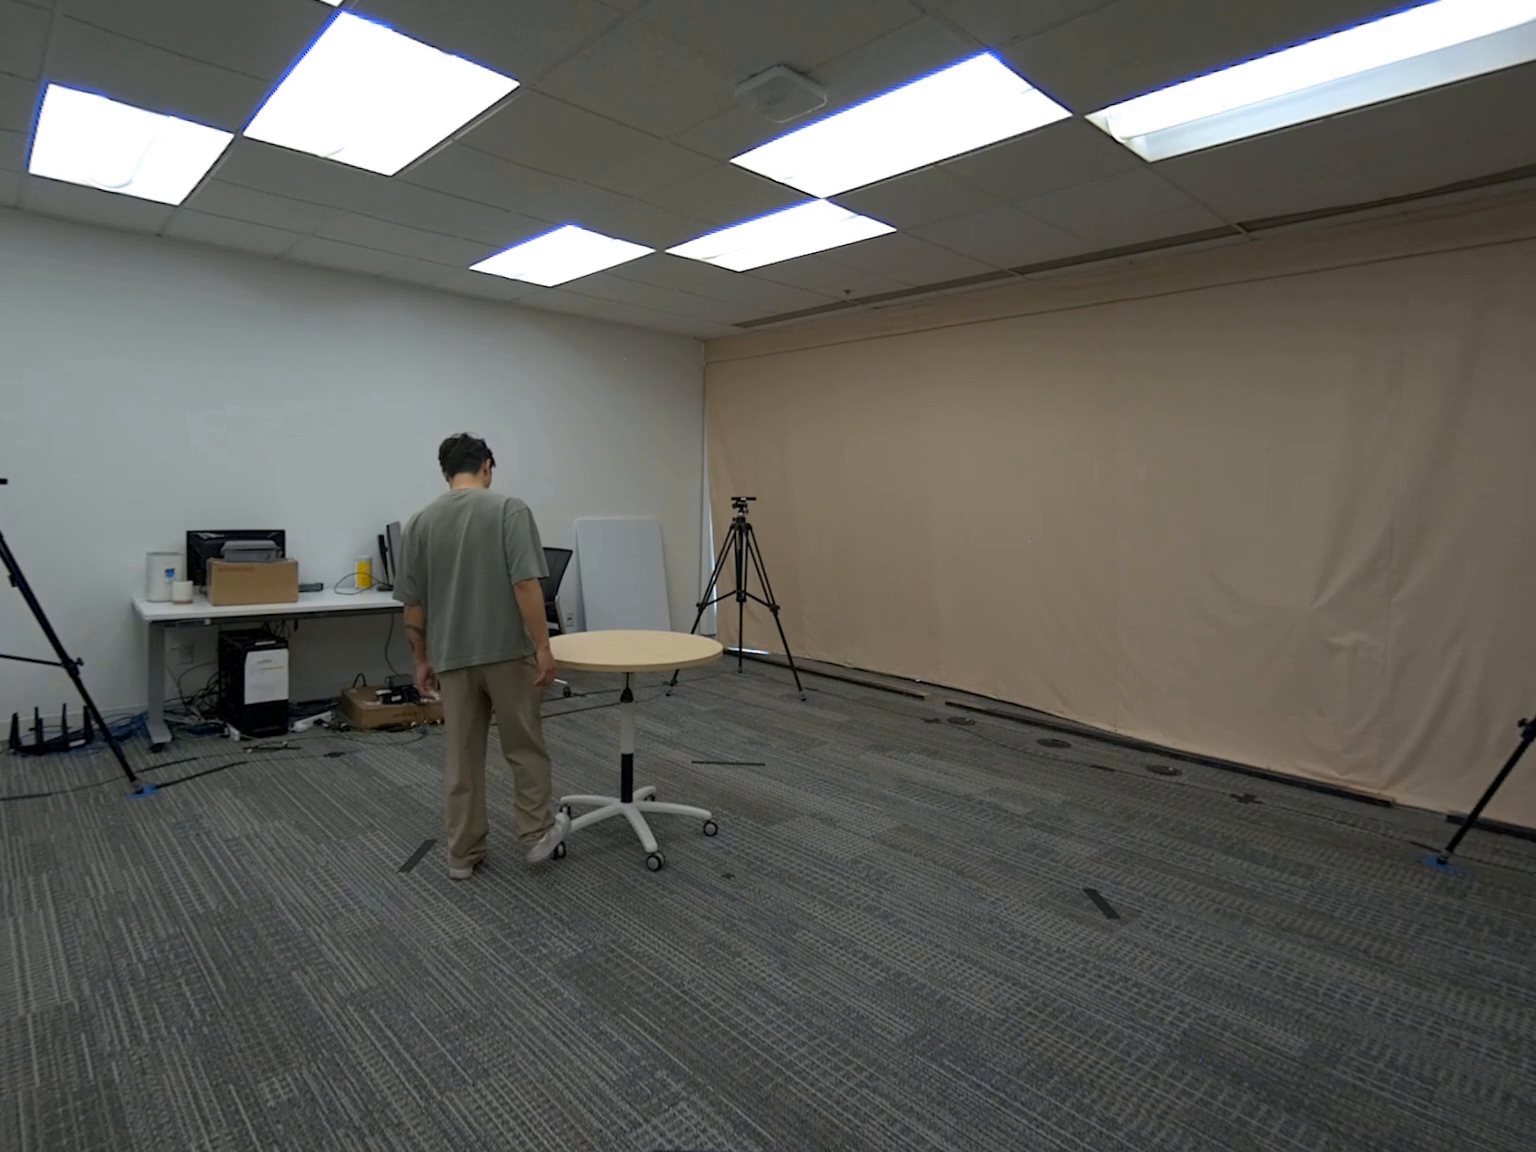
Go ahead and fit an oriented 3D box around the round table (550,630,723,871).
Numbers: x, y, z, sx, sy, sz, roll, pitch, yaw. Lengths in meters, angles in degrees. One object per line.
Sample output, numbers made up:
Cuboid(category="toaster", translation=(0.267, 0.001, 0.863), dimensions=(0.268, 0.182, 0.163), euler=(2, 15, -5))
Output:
Cuboid(category="round table", translation=(-0.573, 0.674, 3.427), dimensions=(0.784, 0.784, 0.788), euler=(1, 4, -1))
